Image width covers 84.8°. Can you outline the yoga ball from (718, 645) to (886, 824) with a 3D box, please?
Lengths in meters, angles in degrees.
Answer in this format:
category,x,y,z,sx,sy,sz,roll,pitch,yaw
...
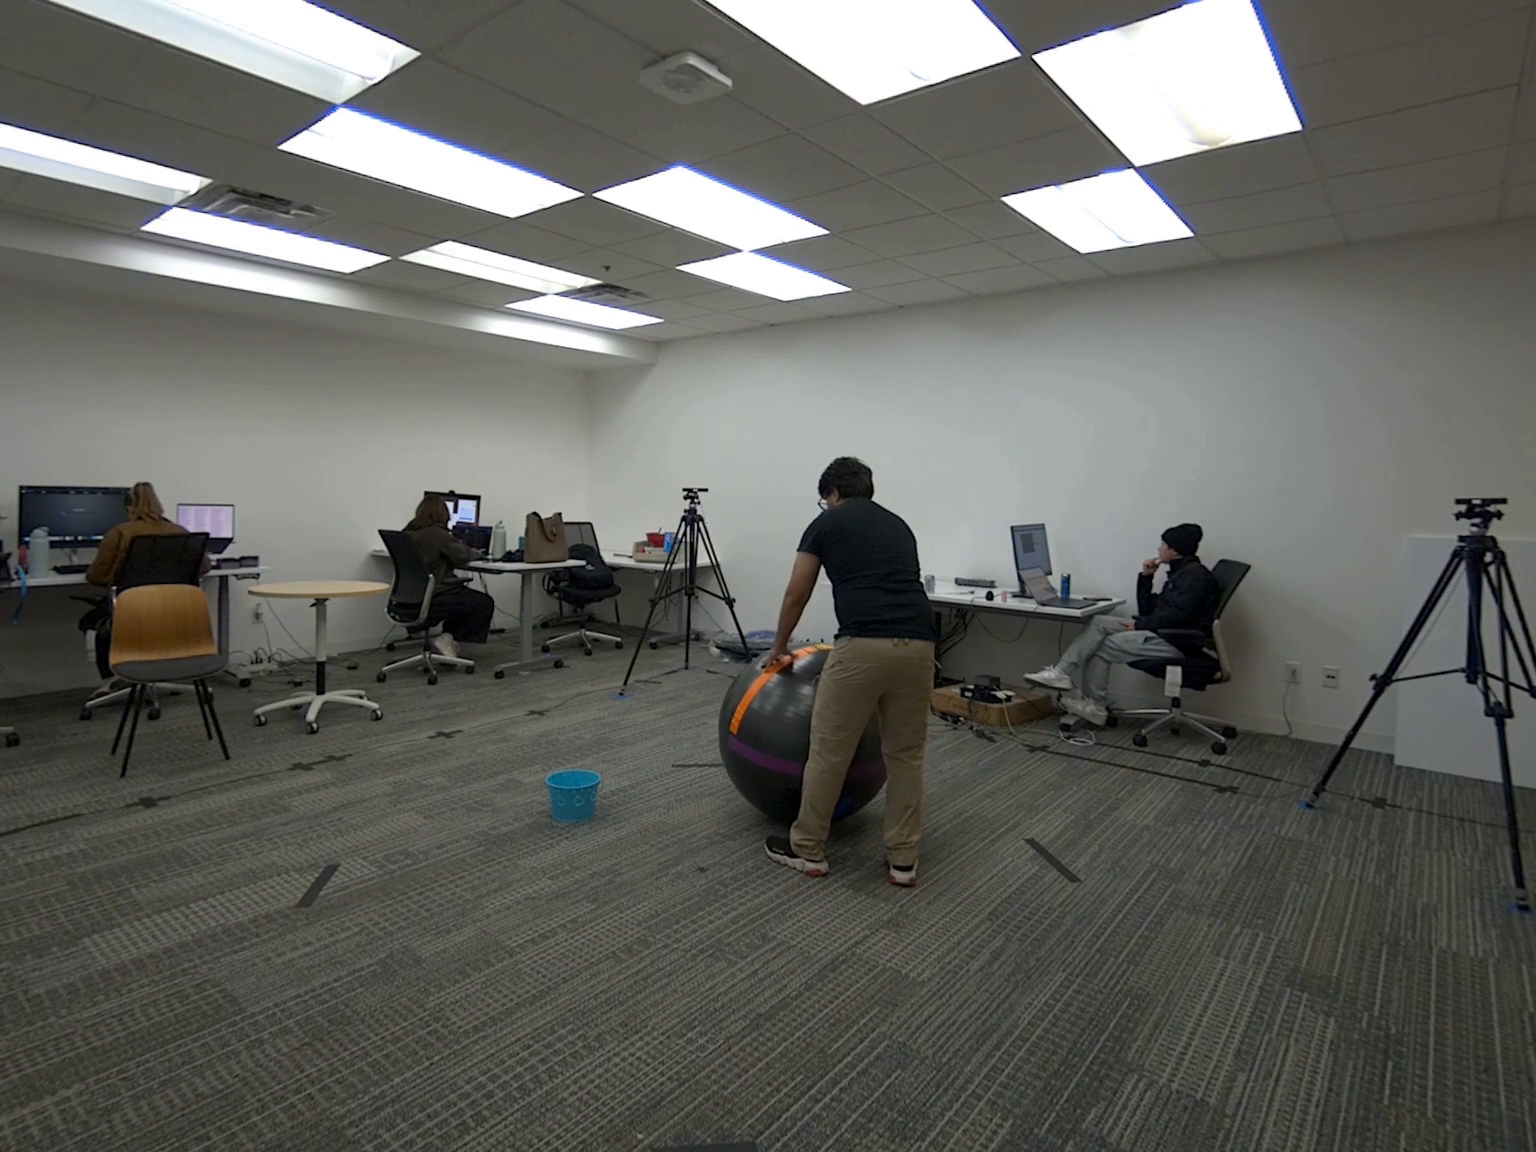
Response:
category,x,y,z,sx,sy,sz,roll,pitch,yaw
yoga ball,0.155,0.663,3.634,0.757,0.755,0.762,1,4,-2
